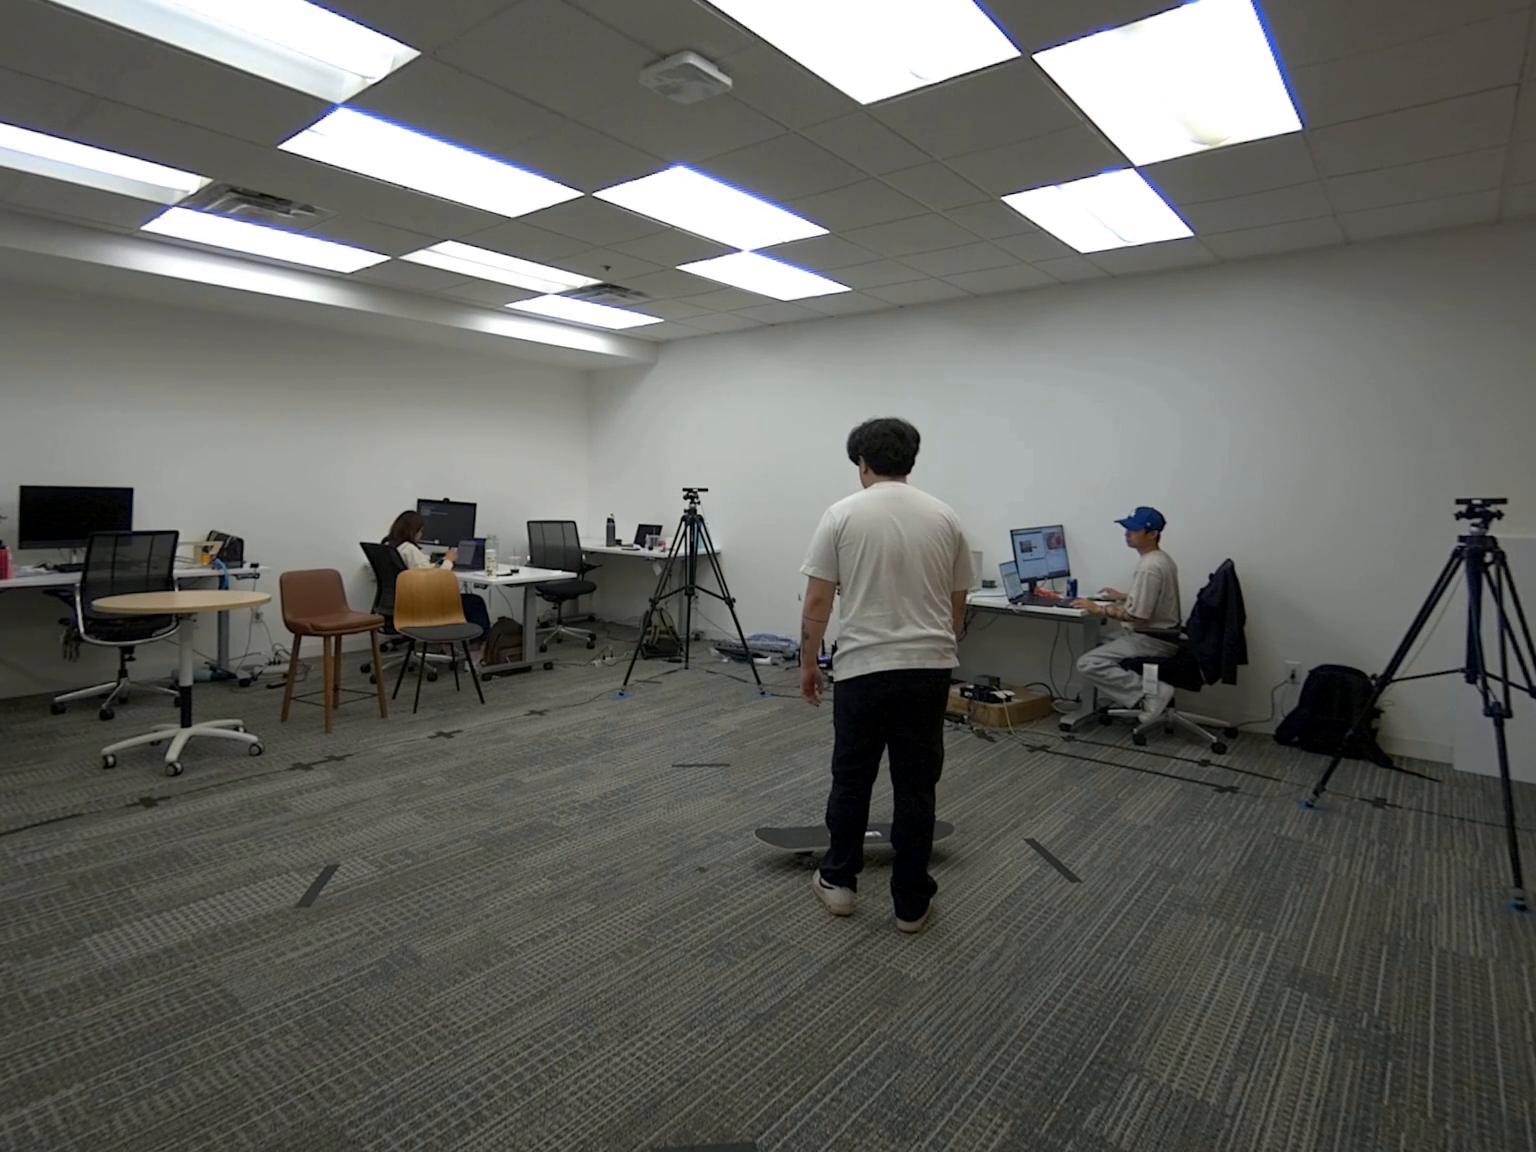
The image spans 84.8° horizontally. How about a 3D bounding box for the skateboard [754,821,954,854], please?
[{"bbox_3d":[0.319,1.008,3.235,0.777,0.110,0.196,0,4,-10],"label":"skateboard"}]
